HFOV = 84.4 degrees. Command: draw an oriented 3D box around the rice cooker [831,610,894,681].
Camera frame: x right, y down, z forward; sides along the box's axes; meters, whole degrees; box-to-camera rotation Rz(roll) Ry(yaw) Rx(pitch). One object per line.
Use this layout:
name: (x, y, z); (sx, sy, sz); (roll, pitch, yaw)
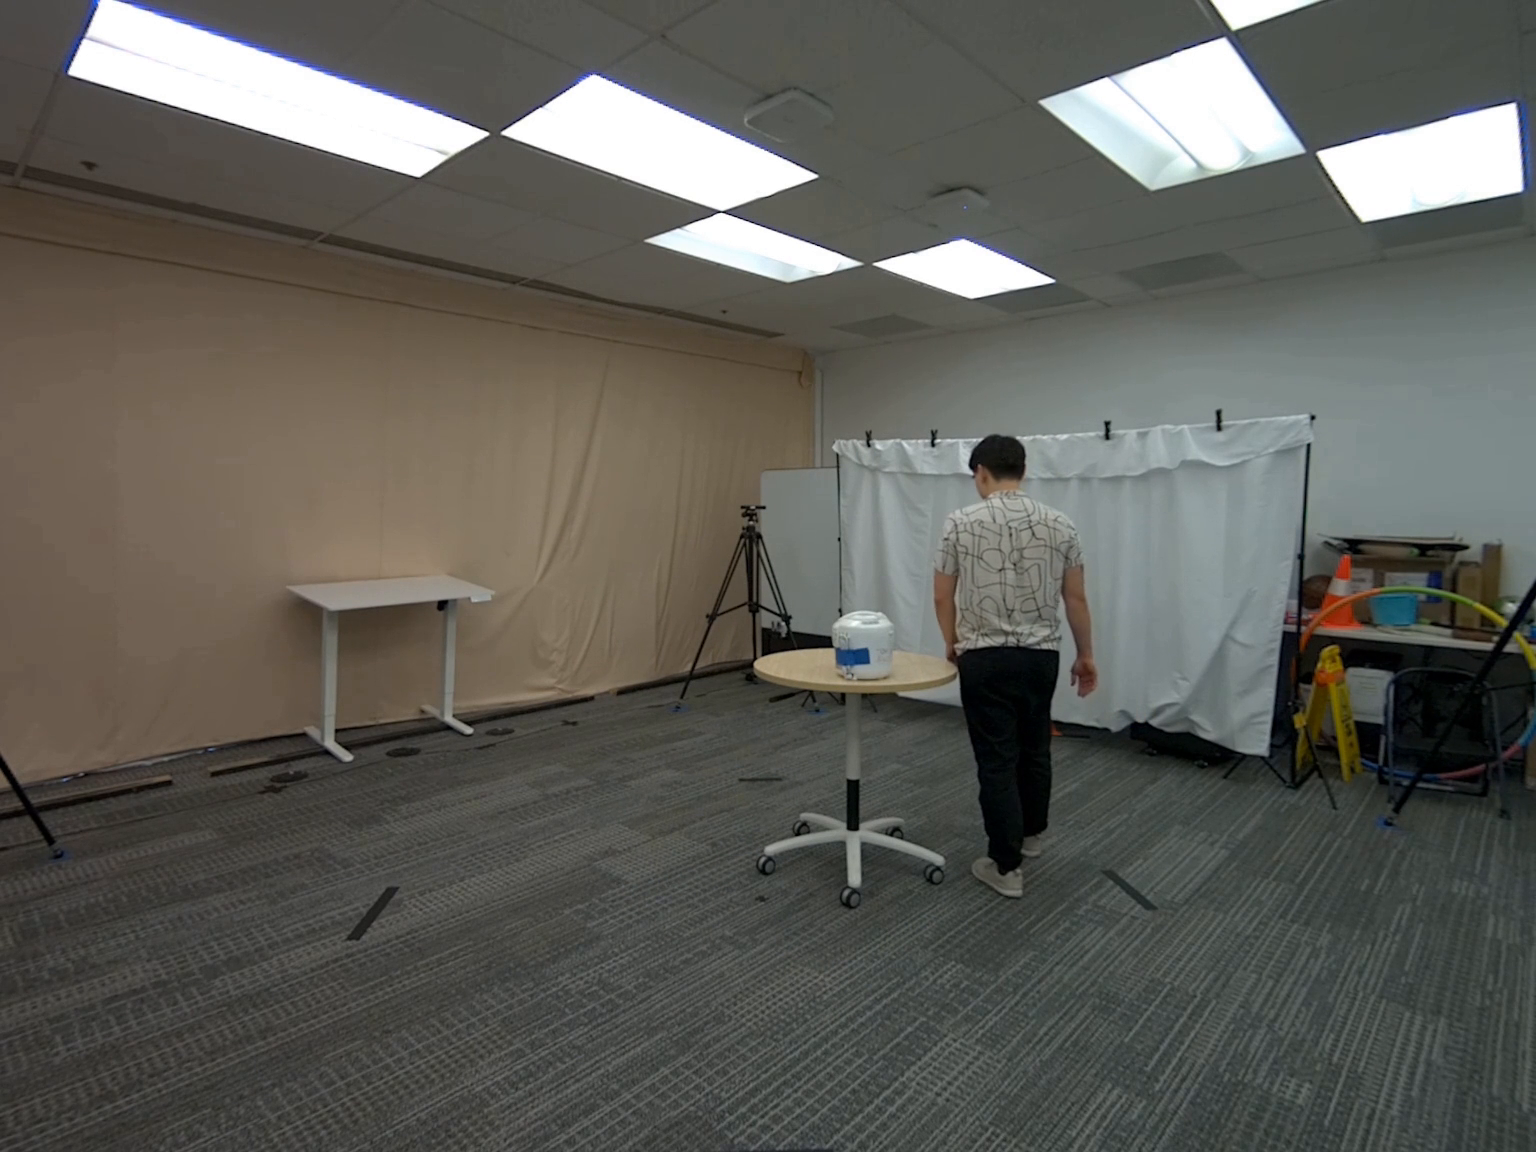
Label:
rice cooker: (0.342, 0.240, 3.010); (0.220, 0.232, 0.219); (0, 4, -5)
